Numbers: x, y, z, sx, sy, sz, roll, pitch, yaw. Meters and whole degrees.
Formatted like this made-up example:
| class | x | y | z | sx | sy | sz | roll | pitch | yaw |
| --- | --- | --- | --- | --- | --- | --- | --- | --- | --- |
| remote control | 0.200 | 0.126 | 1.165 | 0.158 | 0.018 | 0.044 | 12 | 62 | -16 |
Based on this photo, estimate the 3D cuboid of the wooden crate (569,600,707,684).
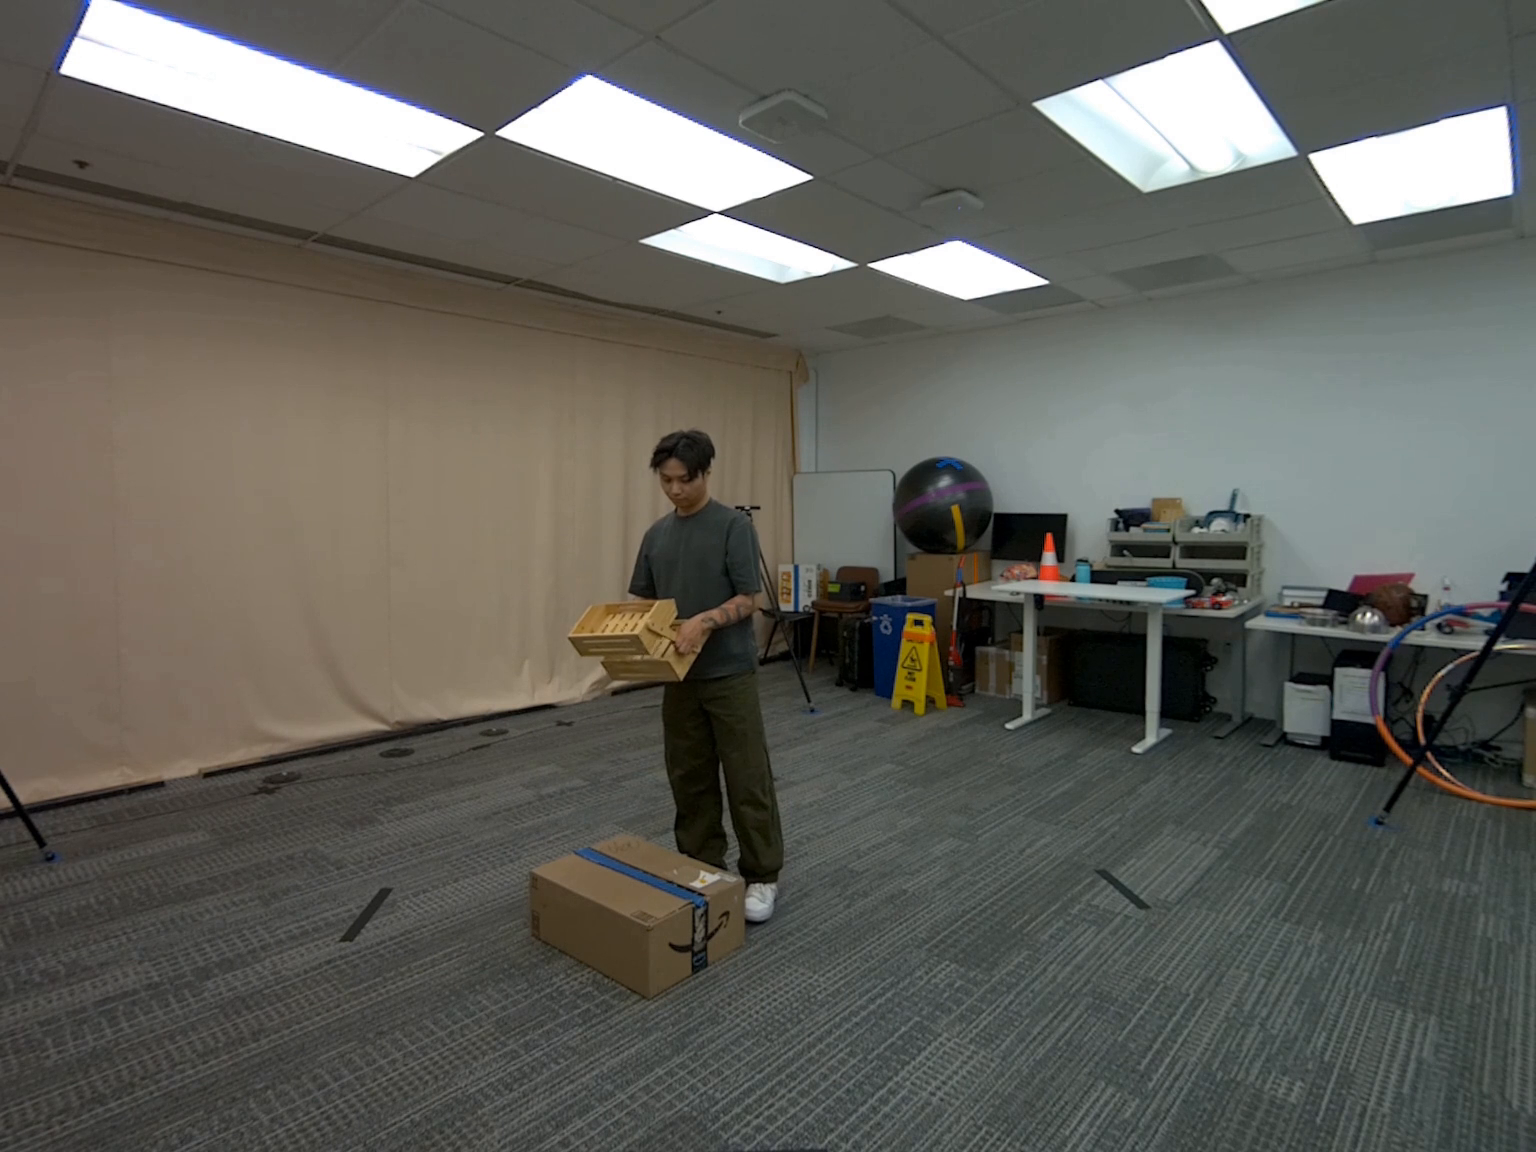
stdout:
| class | x | y | z | sx | sy | sz | roll | pitch | yaw |
| --- | --- | --- | --- | --- | --- | --- | --- | --- | --- |
| wooden crate | -0.415 | 0.184 | 2.811 | 0.334 | 0.266 | 0.302 | -4 | 39 | 34 |
